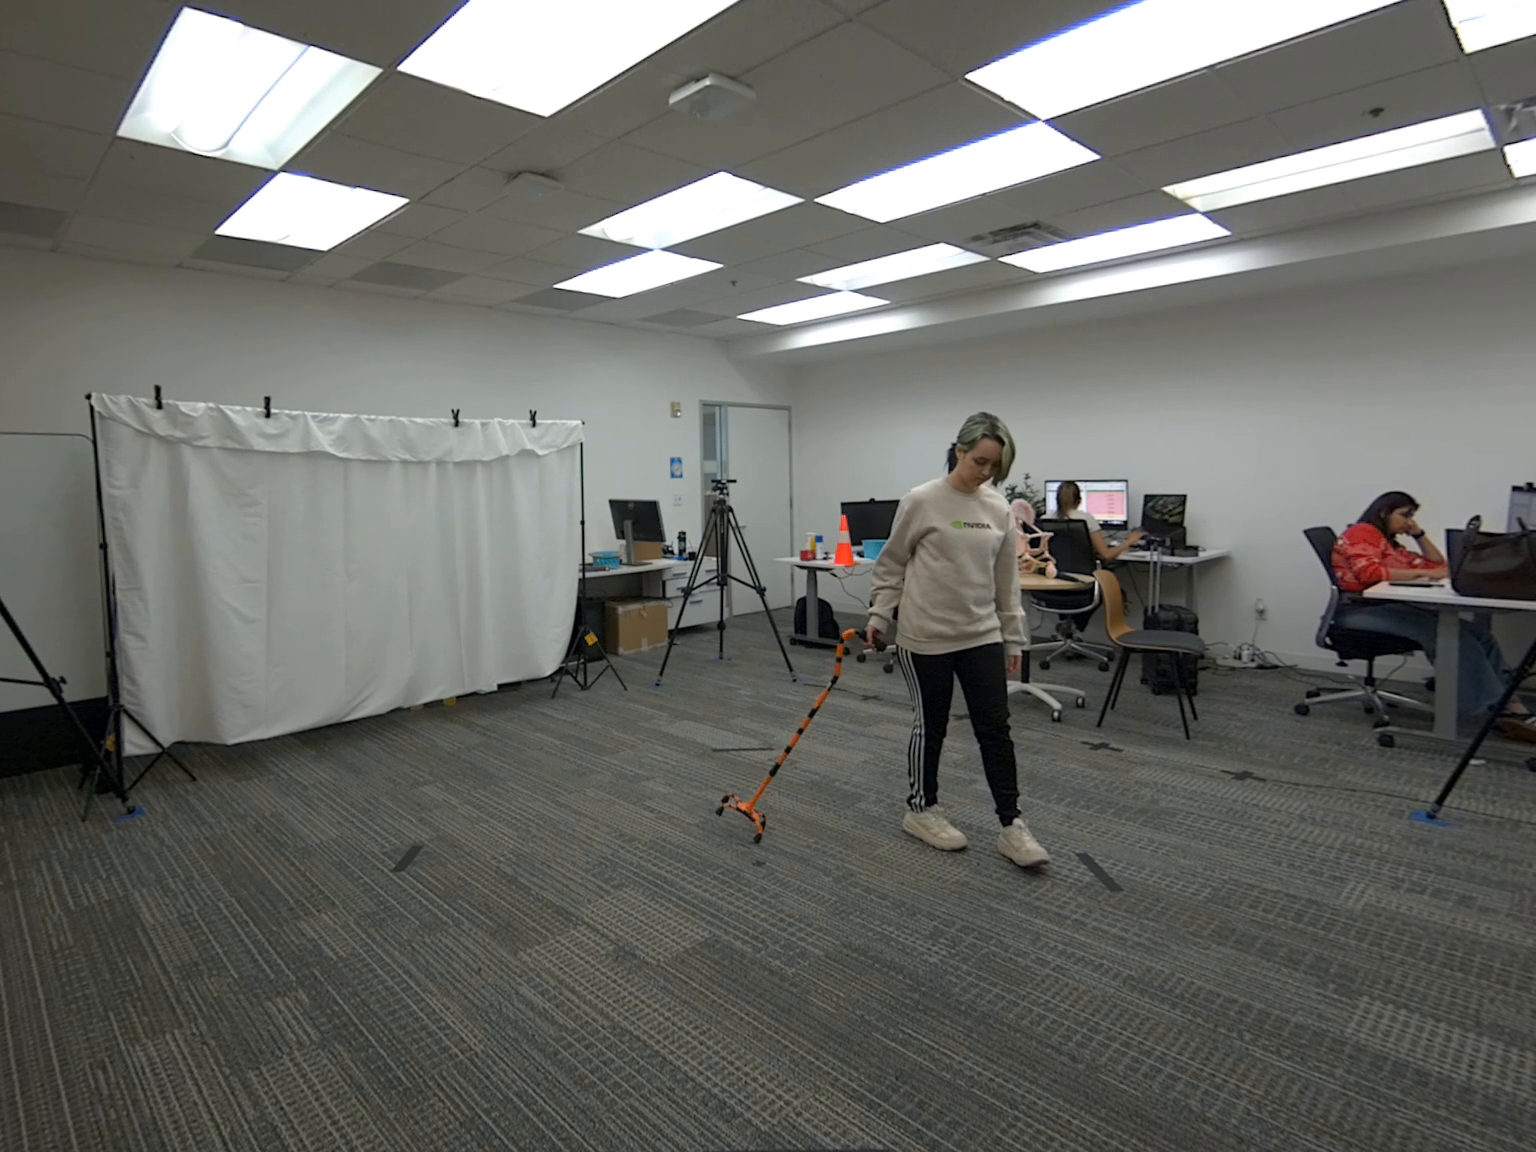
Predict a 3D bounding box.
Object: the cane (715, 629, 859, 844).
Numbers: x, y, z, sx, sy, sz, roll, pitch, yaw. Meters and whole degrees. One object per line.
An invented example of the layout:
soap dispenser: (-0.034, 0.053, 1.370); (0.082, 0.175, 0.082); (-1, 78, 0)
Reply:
cane: (0.132, 0.595, 3.291); (0.208, 0.905, 0.151); (33, 9, 5)
